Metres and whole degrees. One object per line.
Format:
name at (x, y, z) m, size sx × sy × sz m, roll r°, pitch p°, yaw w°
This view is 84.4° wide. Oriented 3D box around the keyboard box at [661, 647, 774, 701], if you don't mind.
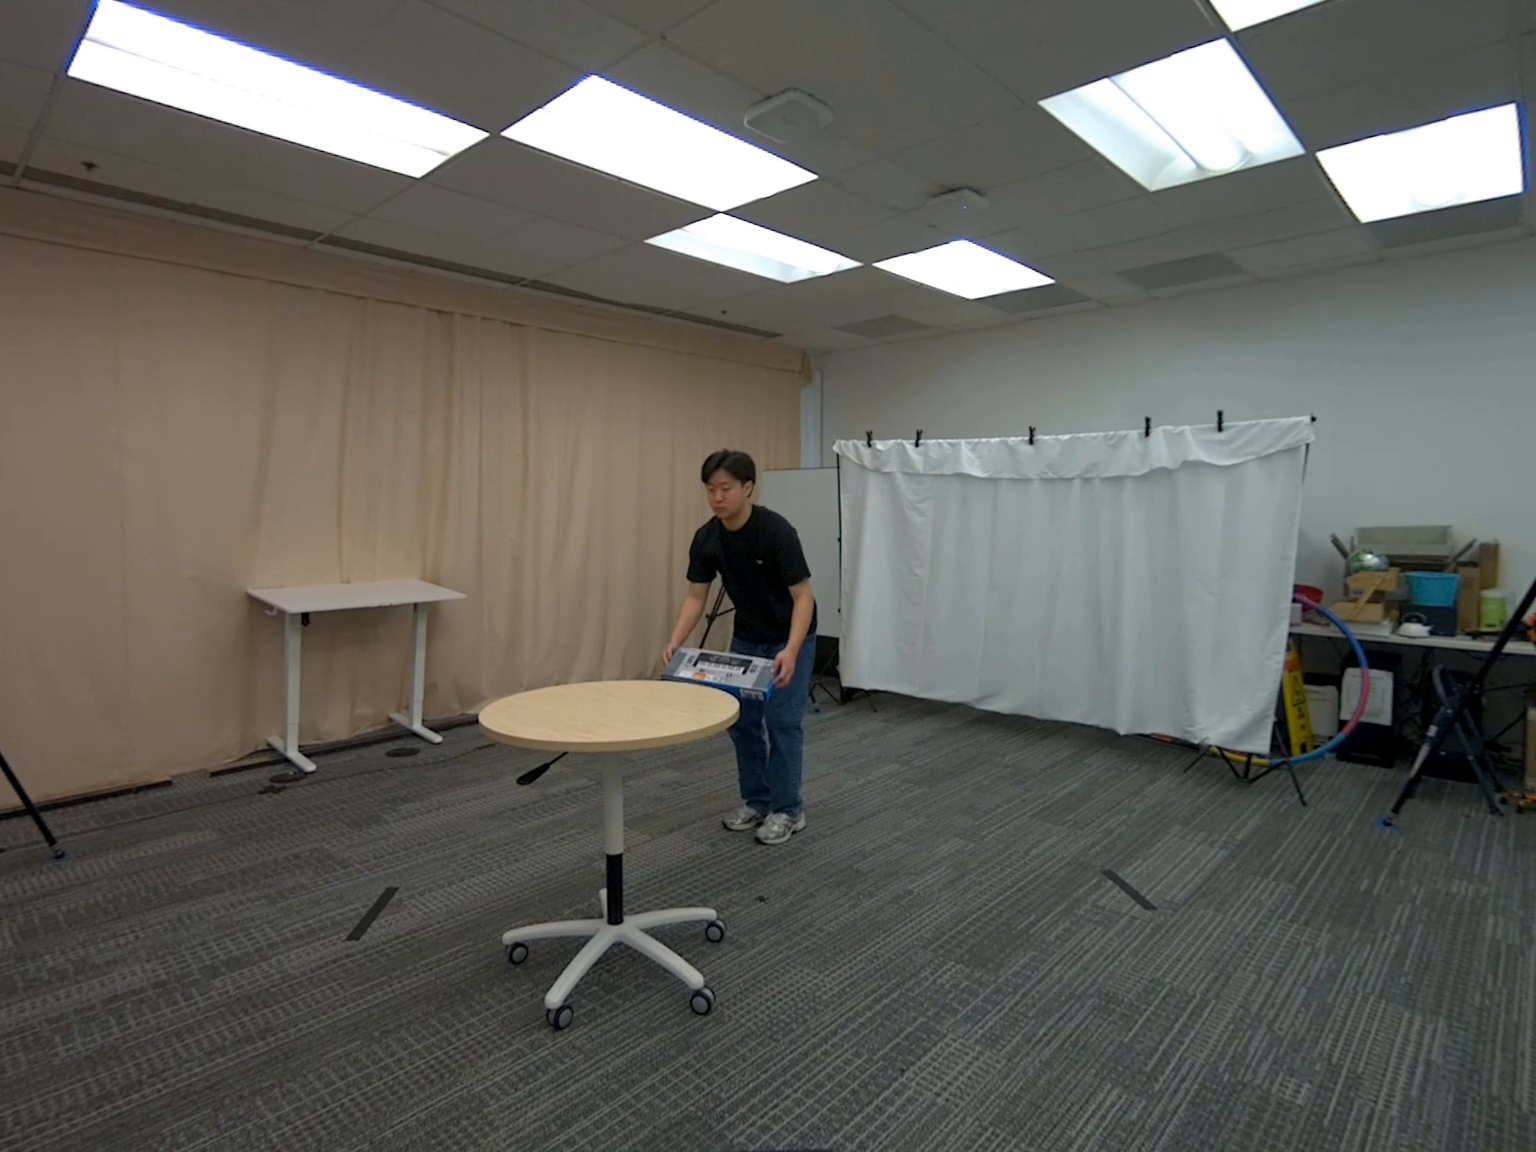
keyboard box at (-0.175, 0.380, 3.245) m, size 0.448 × 0.058 × 0.175 m, roll 5°, pitch 33°, yaw 24°
